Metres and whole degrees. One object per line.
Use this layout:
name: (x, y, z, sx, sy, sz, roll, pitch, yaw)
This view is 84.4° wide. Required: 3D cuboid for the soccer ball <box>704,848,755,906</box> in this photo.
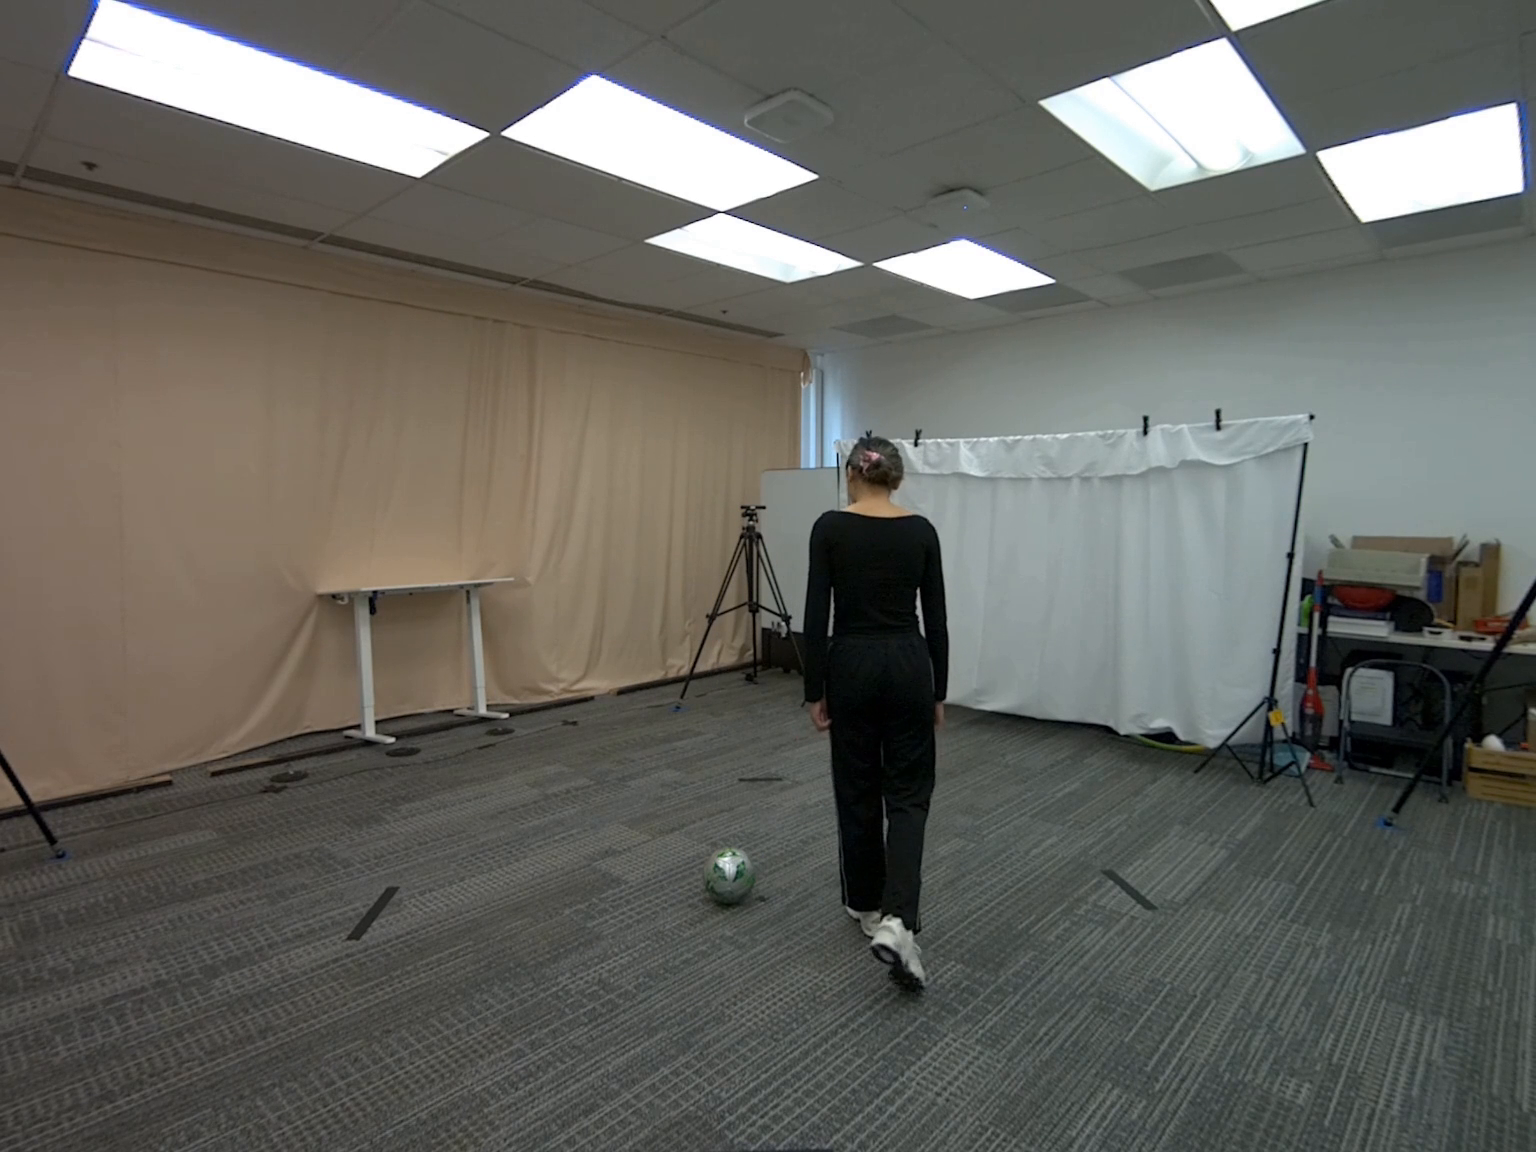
soccer ball: (-0.137, 1.053, 2.958, 0.187, 0.187, 0.188, 0, 4, -2)
